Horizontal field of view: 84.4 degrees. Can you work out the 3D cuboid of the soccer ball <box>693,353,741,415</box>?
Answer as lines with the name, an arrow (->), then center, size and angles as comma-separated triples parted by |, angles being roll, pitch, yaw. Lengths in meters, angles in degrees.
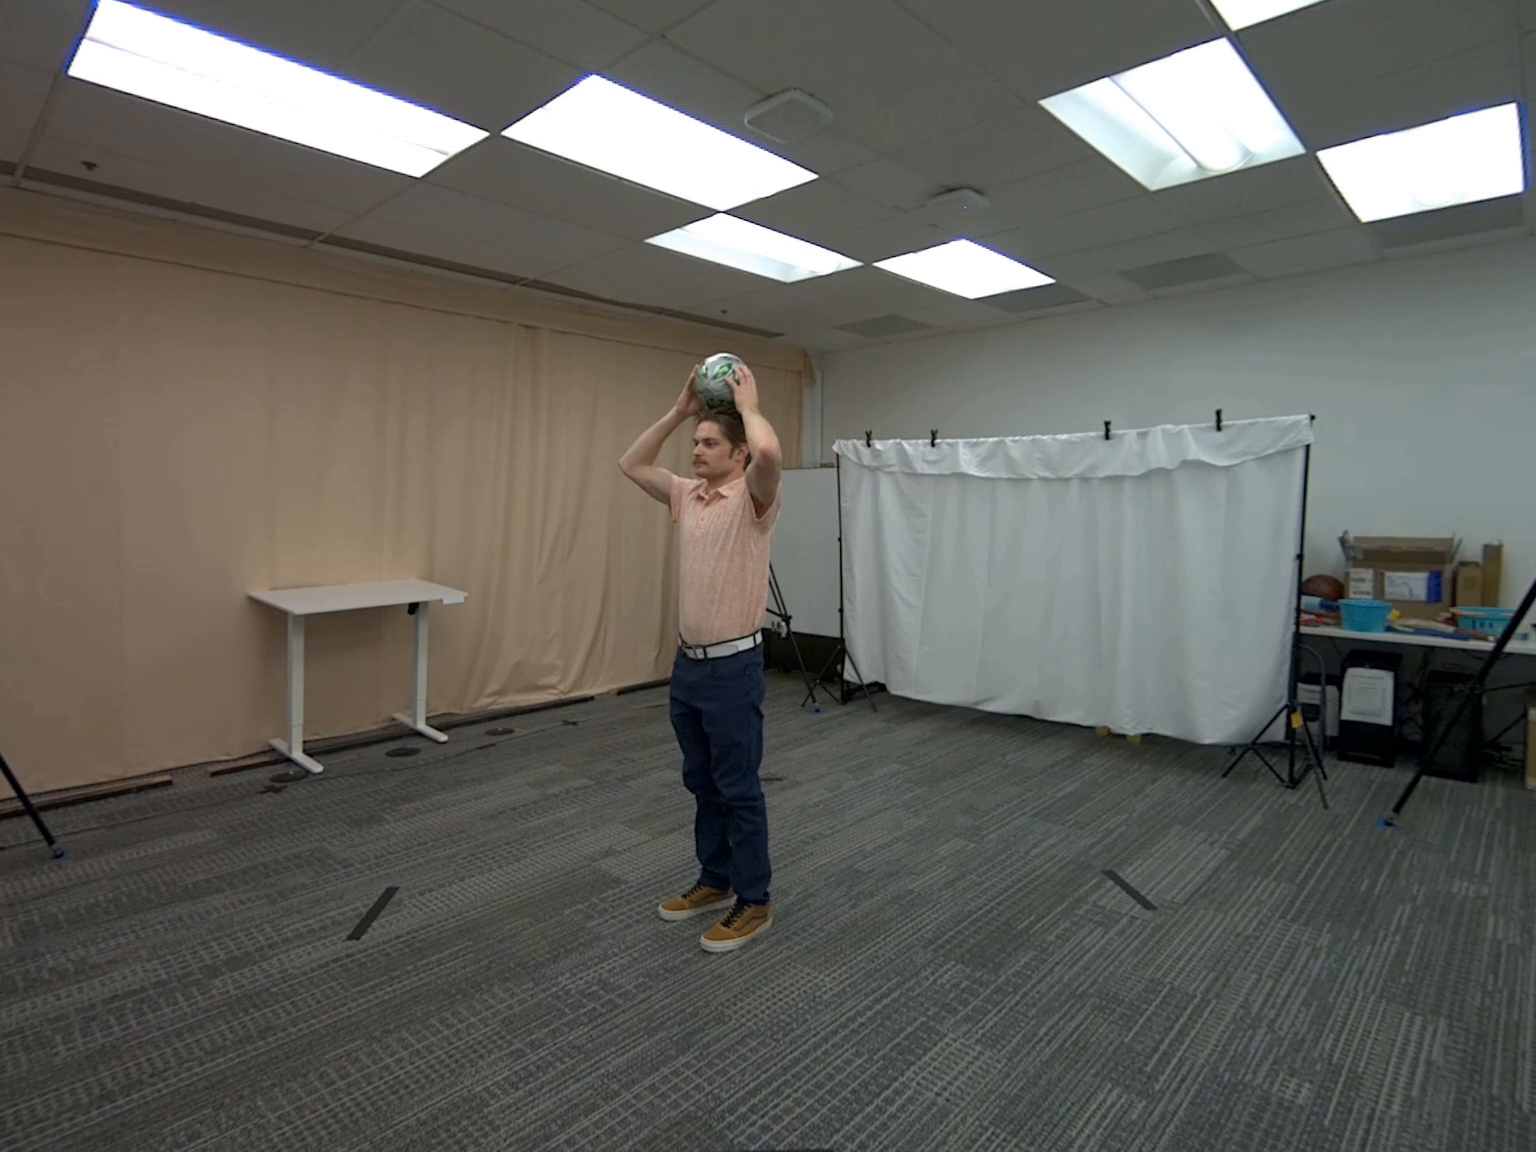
soccer ball -> -0.138, -0.628, 2.752 | 0.187, 0.187, 0.188 | 0, 4, -2
